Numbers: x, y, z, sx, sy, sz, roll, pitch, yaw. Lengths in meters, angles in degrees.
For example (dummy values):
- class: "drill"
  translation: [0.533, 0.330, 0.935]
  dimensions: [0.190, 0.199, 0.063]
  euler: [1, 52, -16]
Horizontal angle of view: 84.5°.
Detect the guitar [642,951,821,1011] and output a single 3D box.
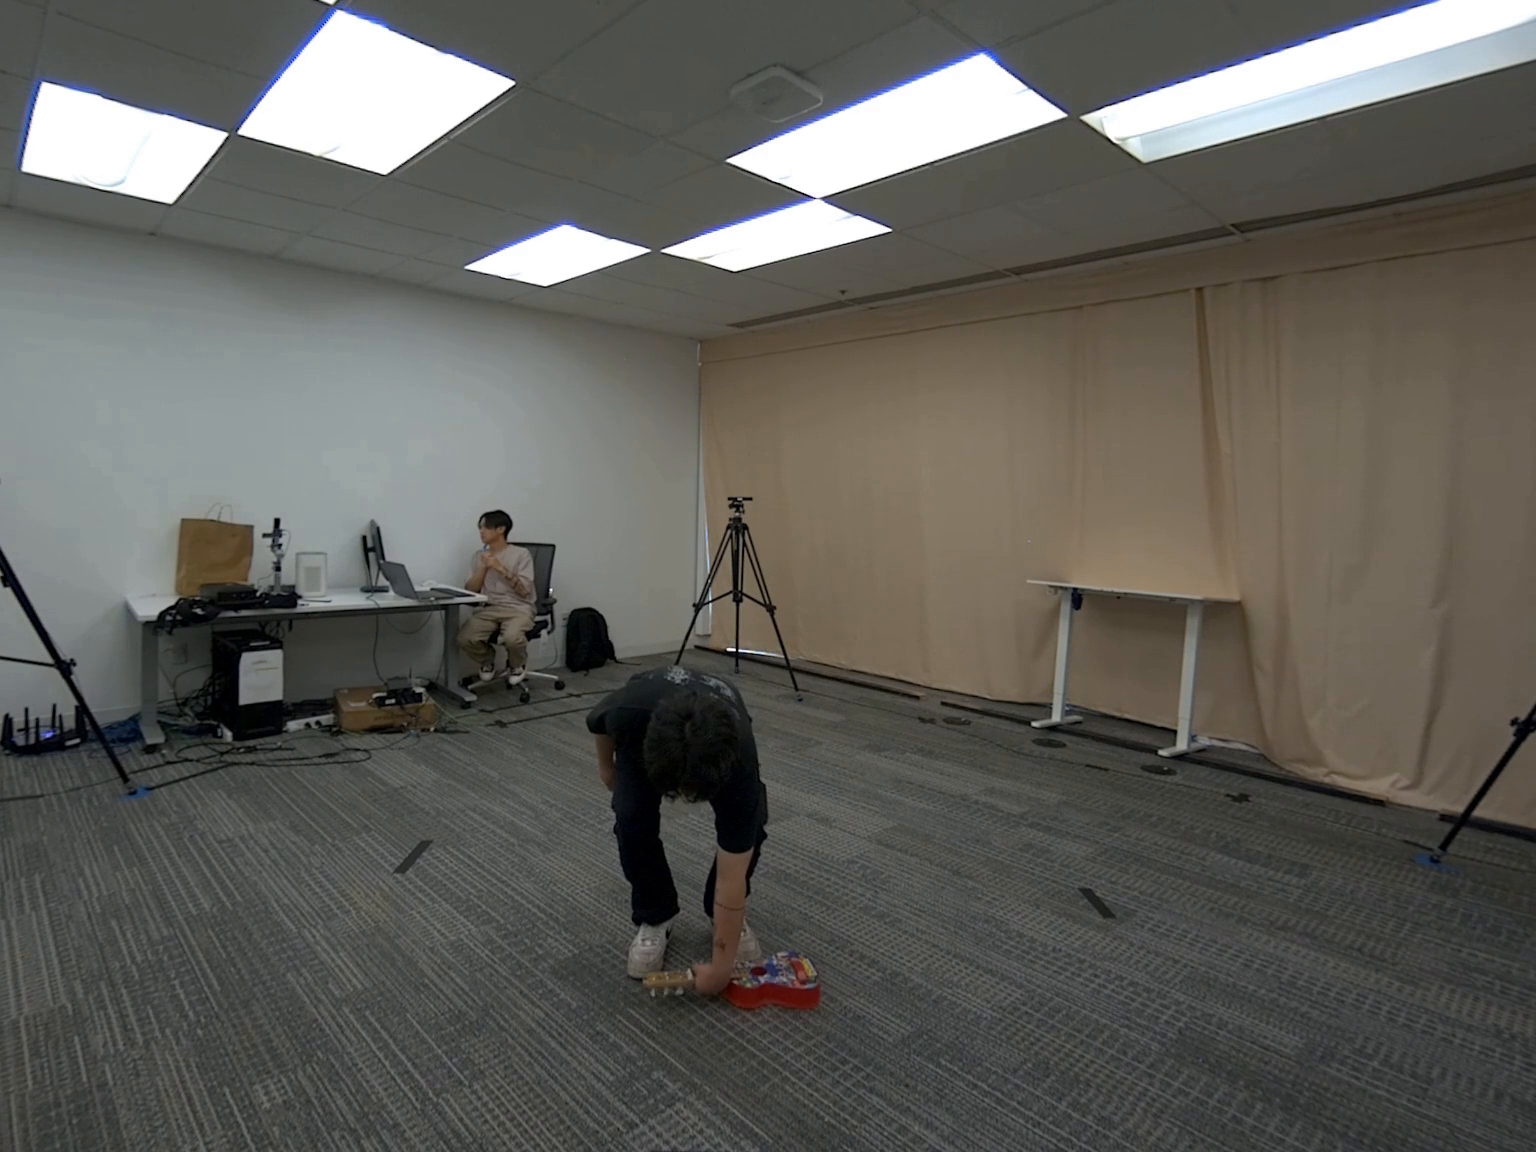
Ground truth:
- class: "guitar"
  translation: [-0.114, 1.129, 2.381]
  dimensions: [0.495, 0.070, 0.194]
  euler: [2, 6, -6]
